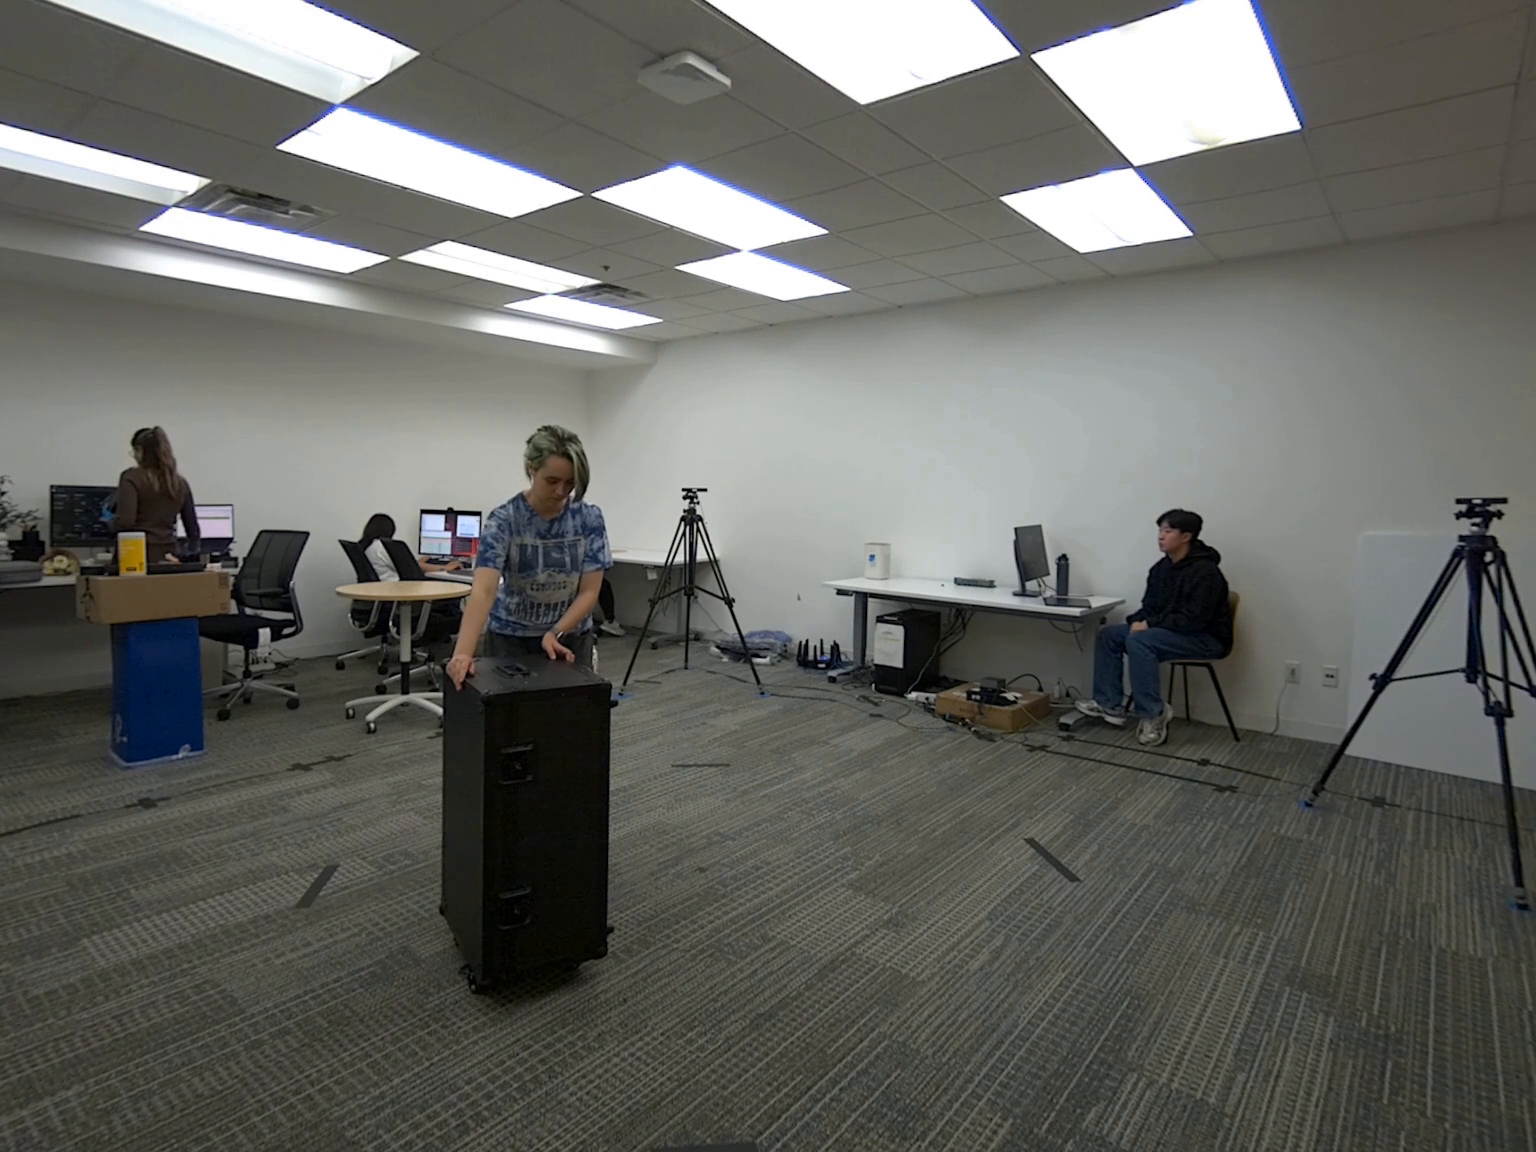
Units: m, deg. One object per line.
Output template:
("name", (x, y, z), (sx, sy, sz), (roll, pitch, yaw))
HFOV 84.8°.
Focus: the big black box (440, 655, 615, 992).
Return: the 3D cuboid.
("big black box", (-0.729, 0.704, 2.493), (0.385, 0.860, 0.537), (0, 3, -33))
